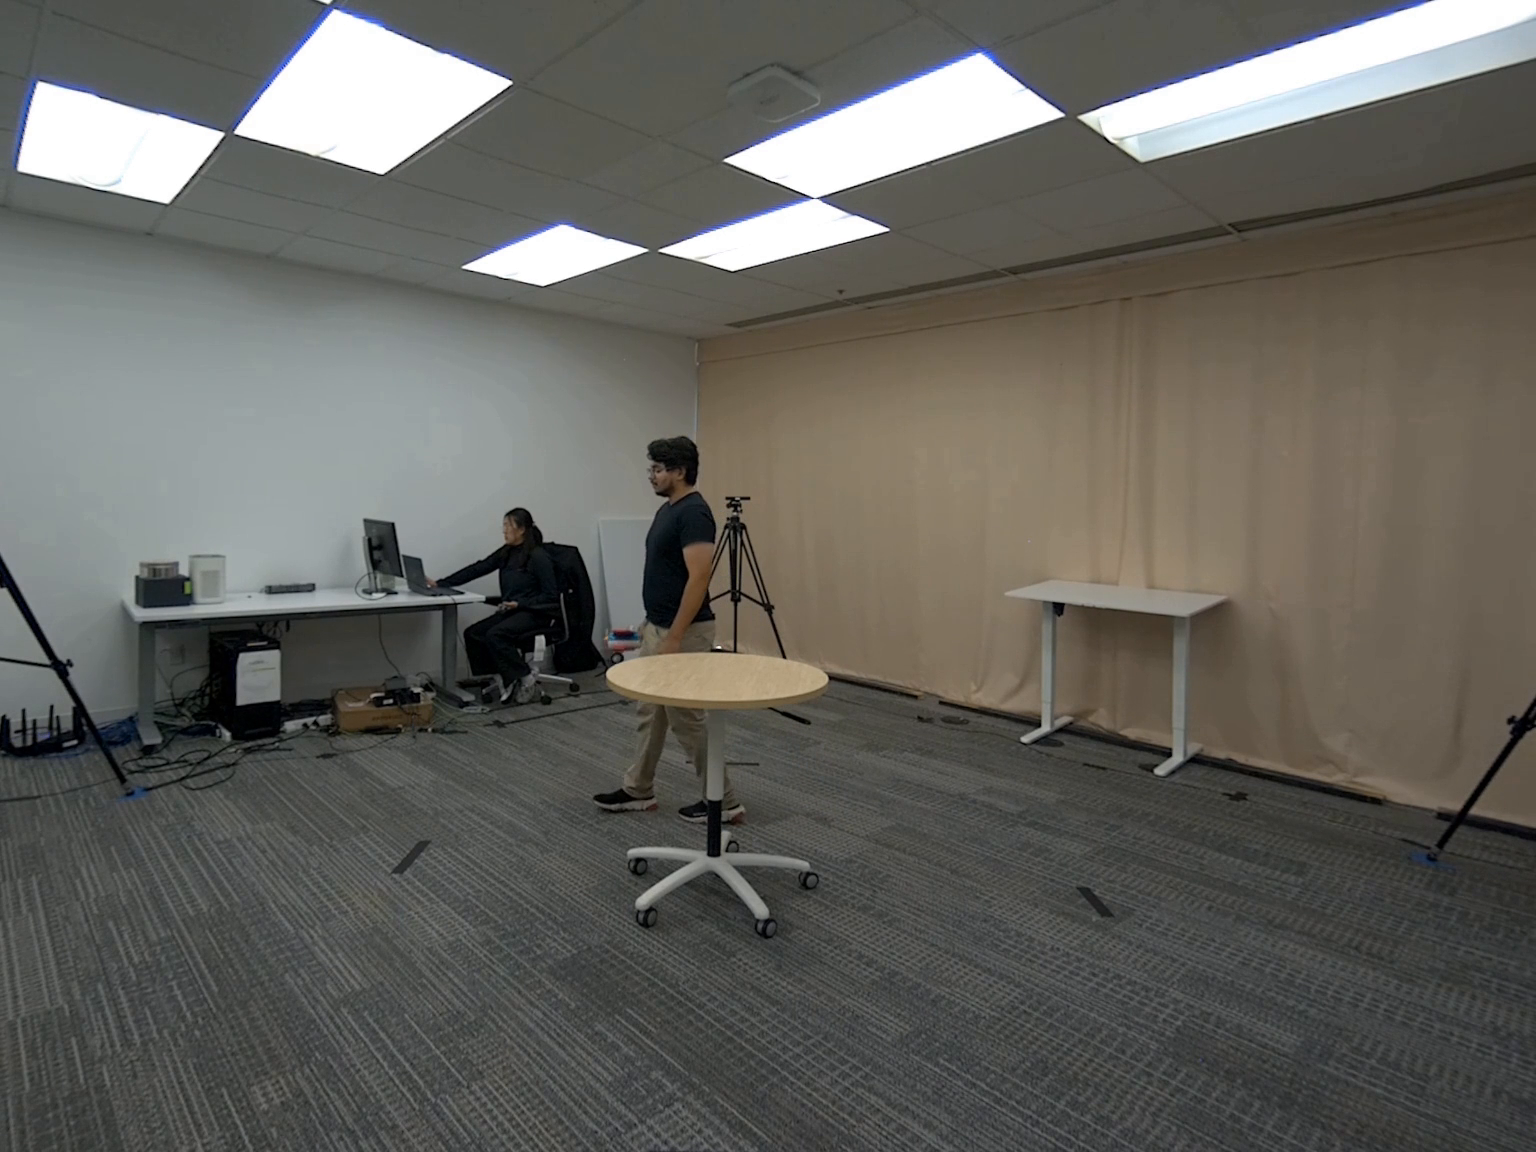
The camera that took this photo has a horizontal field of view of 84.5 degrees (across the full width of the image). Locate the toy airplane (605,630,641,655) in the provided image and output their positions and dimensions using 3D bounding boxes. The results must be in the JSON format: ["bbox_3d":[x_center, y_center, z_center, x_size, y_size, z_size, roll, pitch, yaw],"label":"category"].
[{"bbox_3d":[-0.640,0.312,3.933,0.255,0.157,0.254,-12,-6,-34],"label":"toy airplane"}]
